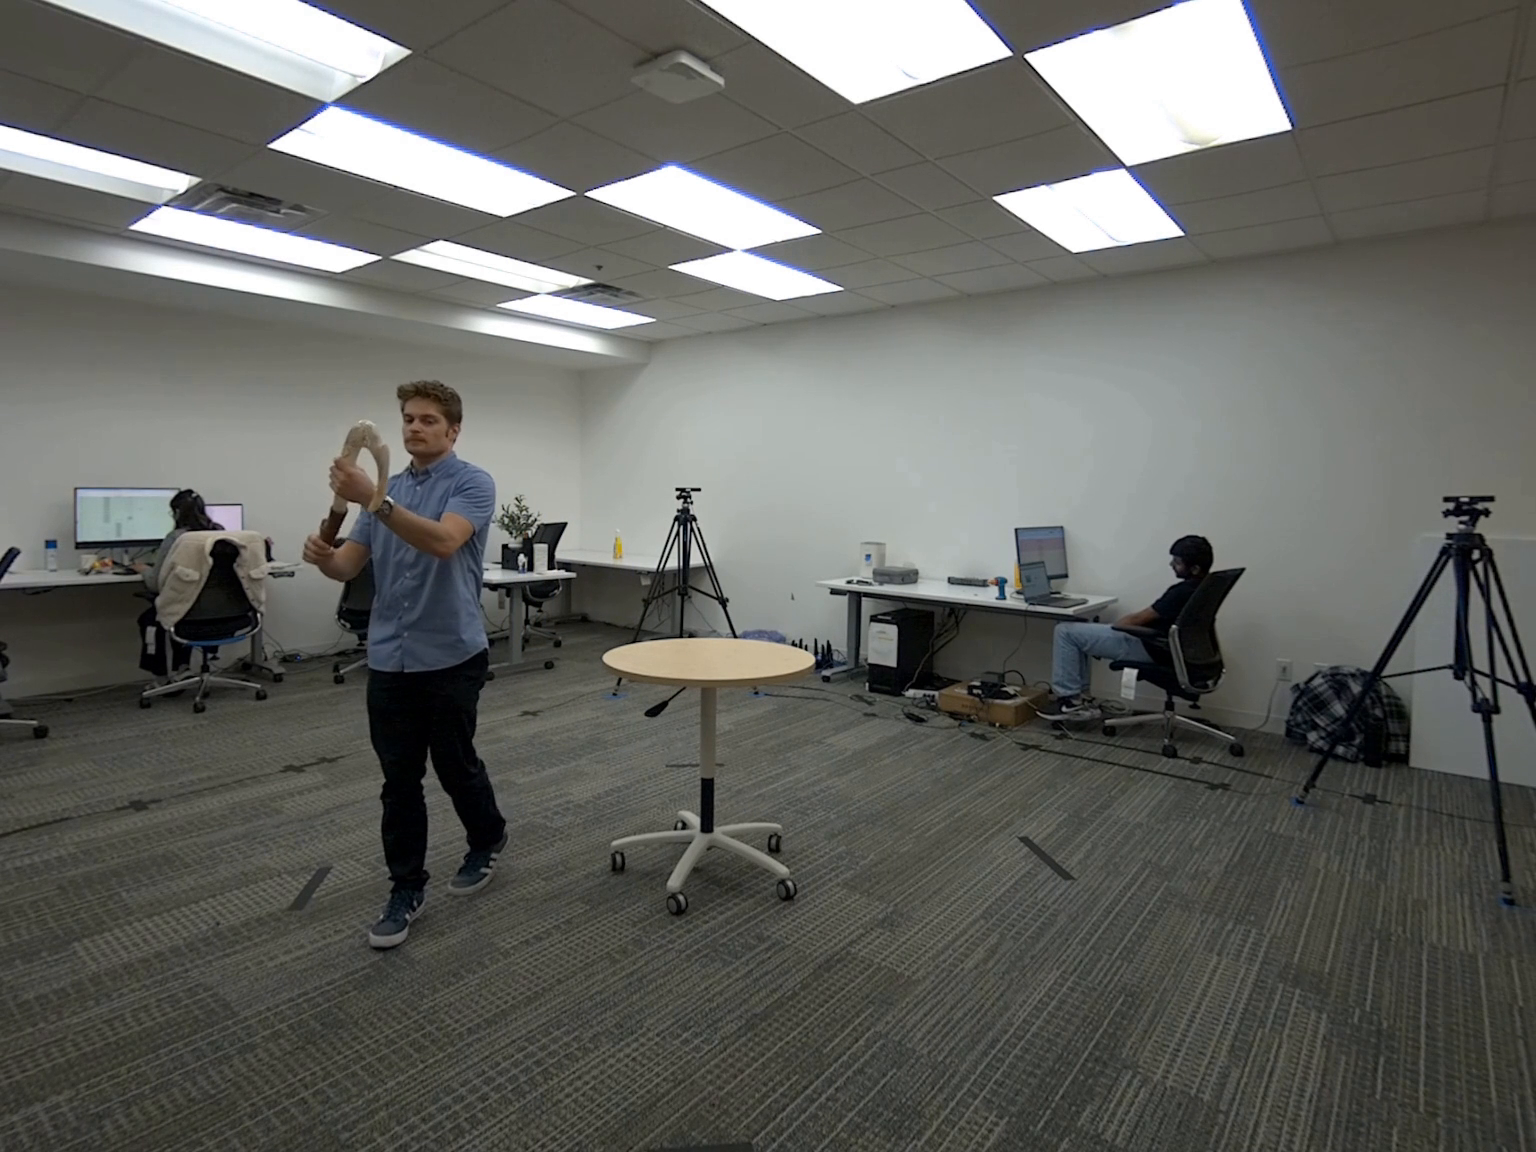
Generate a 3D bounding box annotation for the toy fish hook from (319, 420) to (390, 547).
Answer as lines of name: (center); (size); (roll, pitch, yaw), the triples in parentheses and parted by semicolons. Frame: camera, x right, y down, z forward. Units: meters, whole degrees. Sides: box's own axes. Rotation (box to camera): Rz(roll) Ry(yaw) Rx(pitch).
toy fish hook: (-1.142, -0.195, 2.308); (0.047, 0.504, 0.233); (-1, 47, -47)
